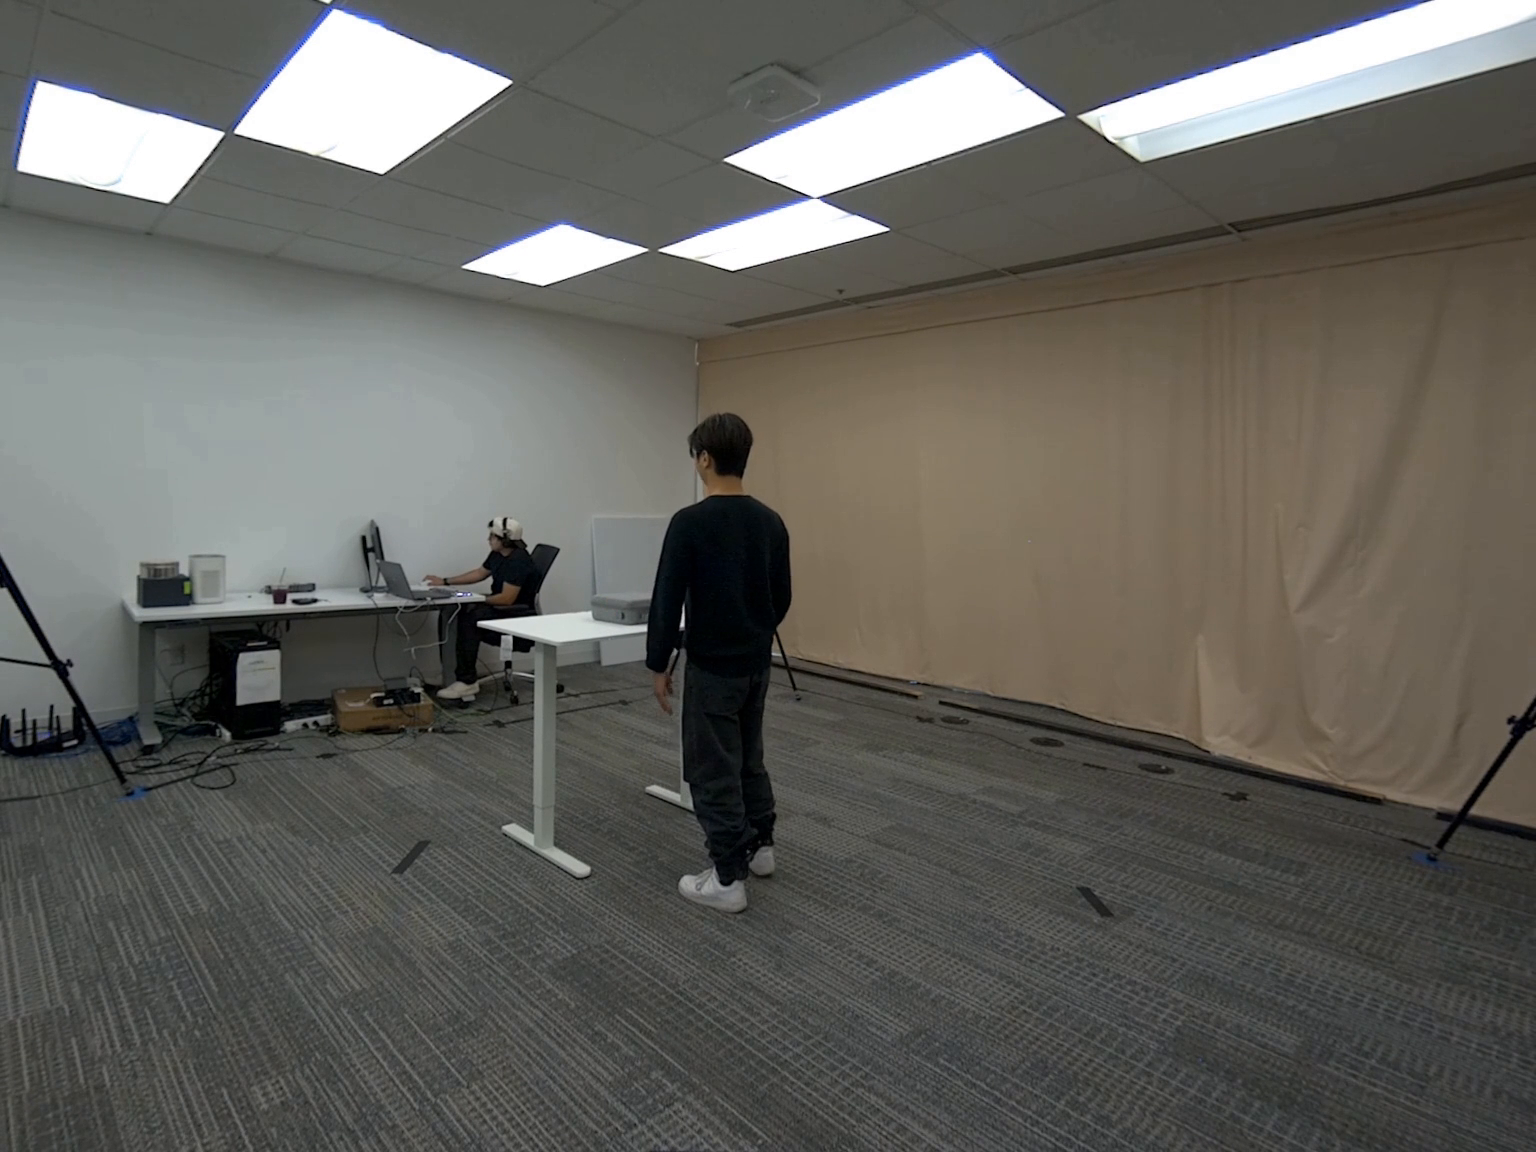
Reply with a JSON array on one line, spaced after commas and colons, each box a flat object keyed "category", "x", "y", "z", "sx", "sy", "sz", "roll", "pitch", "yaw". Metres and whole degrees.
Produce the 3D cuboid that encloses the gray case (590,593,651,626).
[{"category": "gray case", "x": -0.568, "y": 0.125, "z": 3.472, "sx": 0.267, "sy": 0.104, "sz": 0.251, "roll": 5, "pitch": 7, "yaw": 38}]
